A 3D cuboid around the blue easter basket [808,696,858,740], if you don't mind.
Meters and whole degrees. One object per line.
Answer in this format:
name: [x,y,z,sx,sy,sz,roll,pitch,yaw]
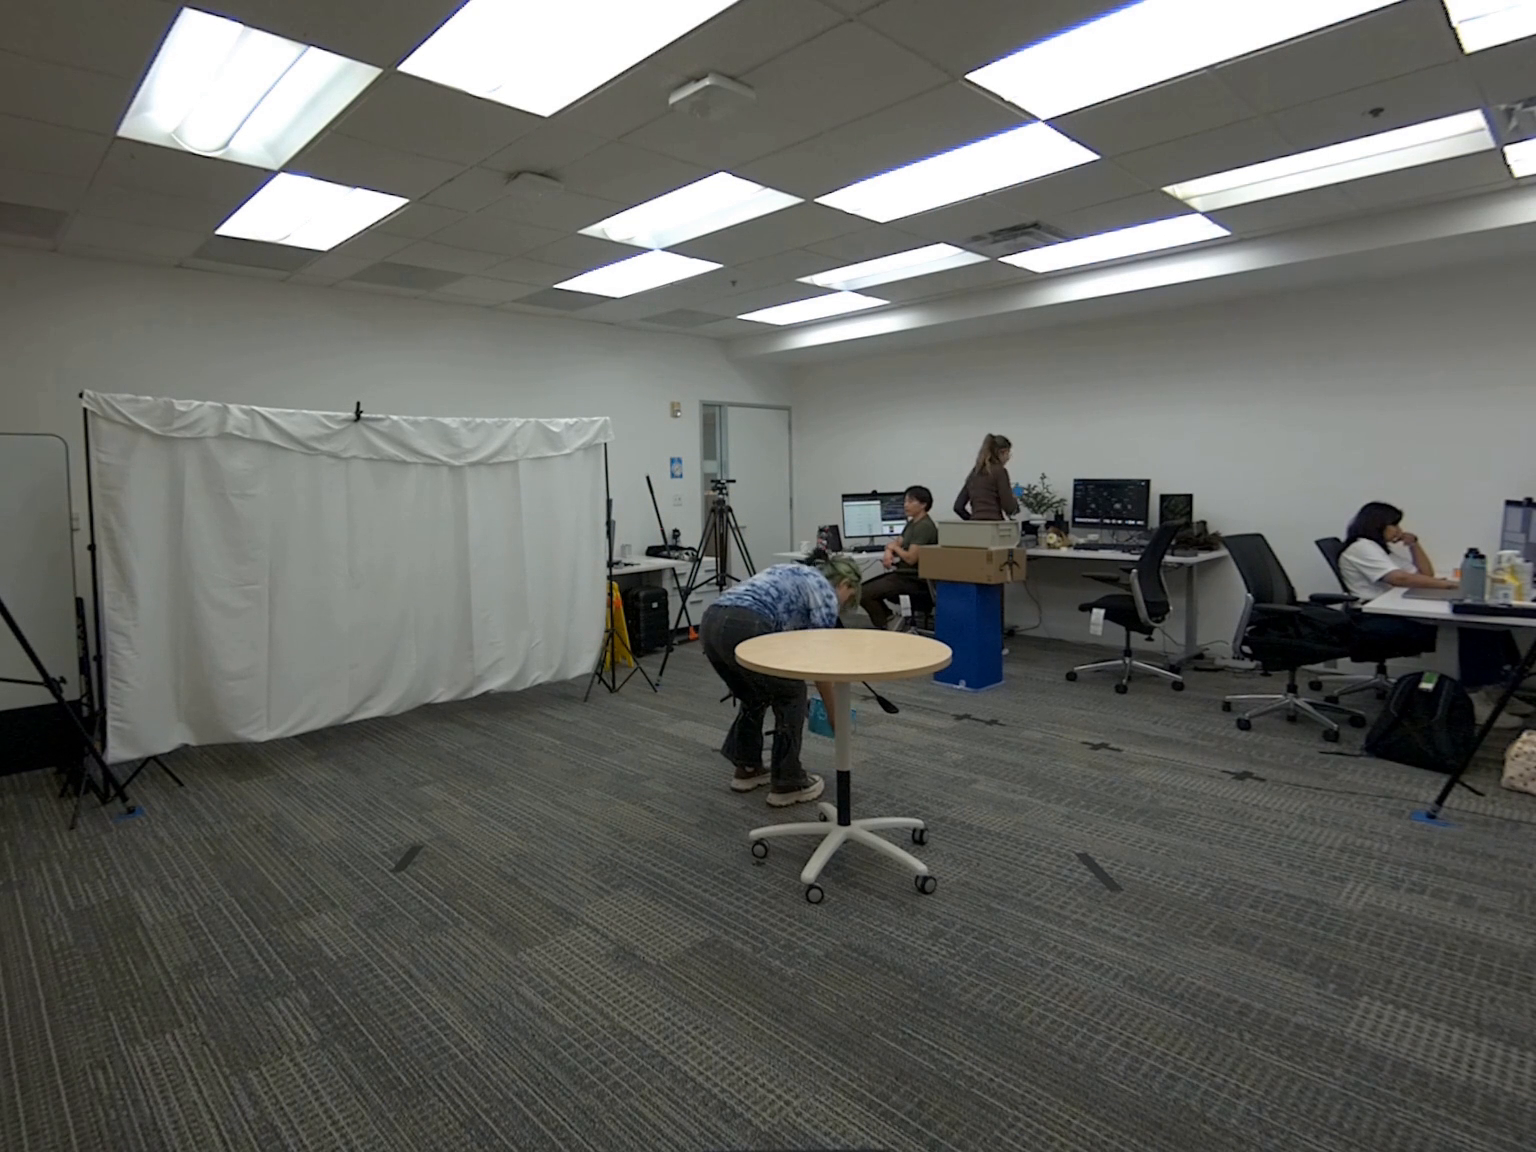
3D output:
blue easter basket: [0.292,0.656,3.951,0.244,0.156,0.242,14,-6,0]
